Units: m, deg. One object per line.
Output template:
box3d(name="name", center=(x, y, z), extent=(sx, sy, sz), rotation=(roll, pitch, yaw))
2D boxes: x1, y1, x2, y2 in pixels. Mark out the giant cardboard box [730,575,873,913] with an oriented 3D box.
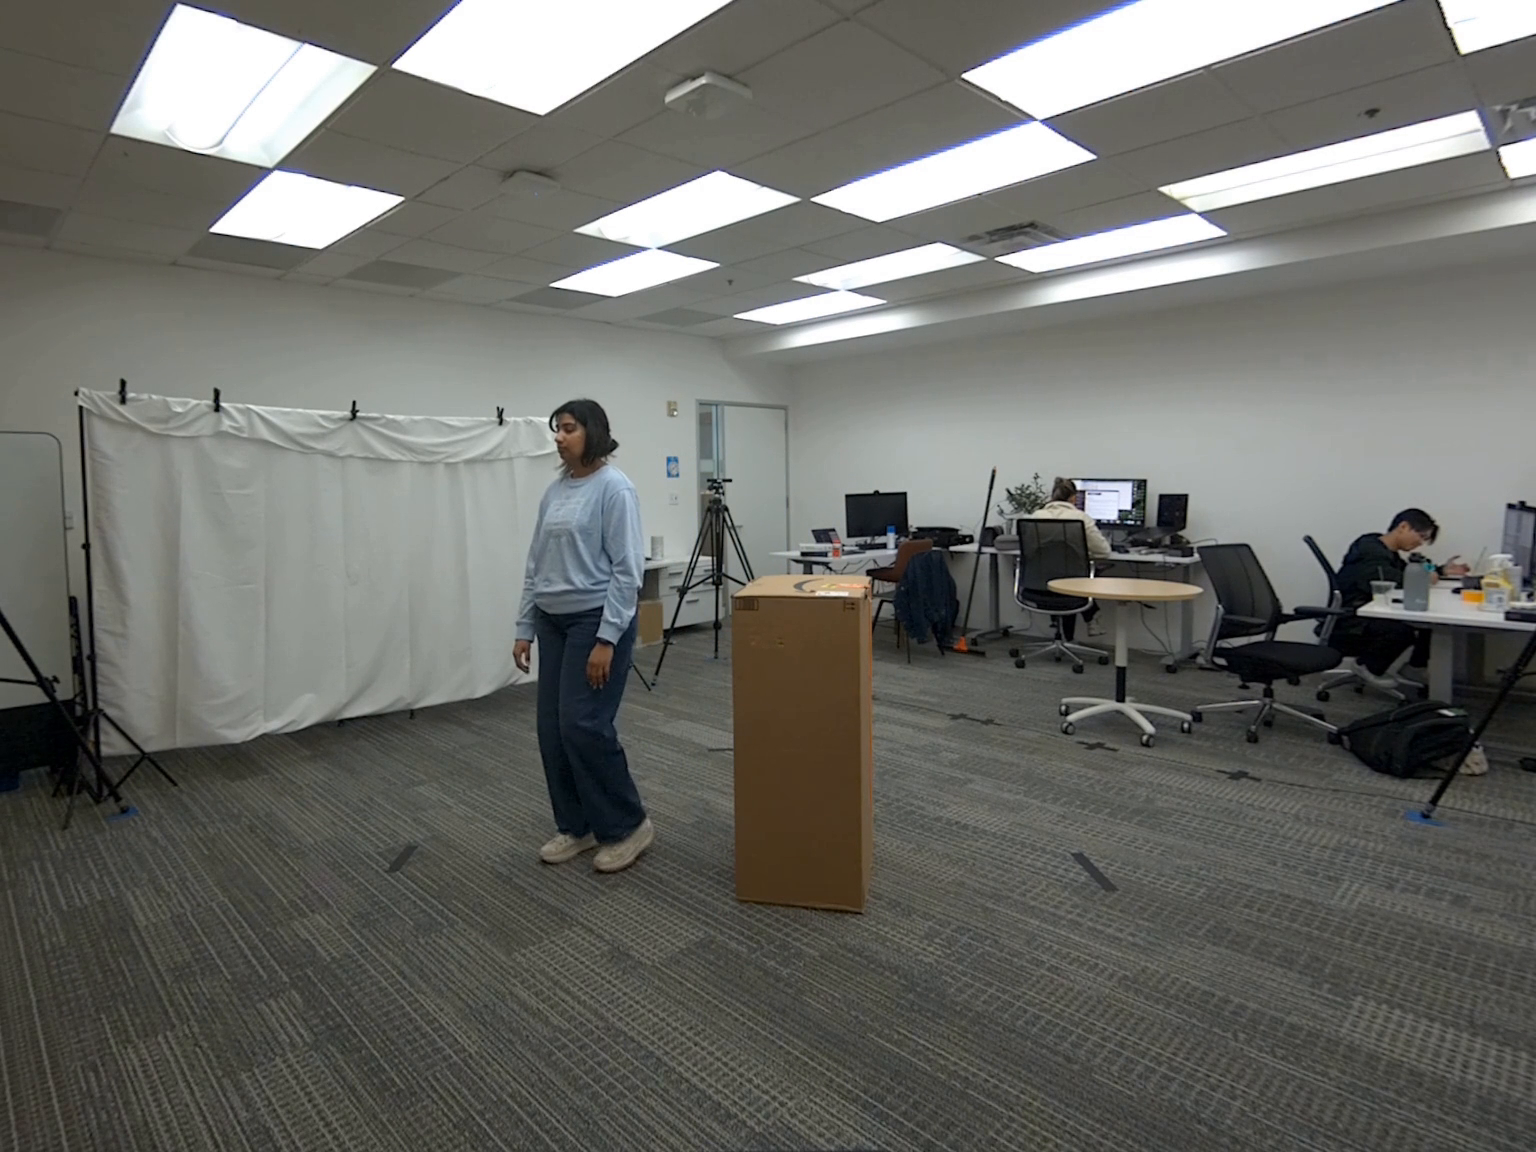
box3d(name="giant cardboard box", center=(0.140, 0.539, 3.022), extent=(0.431, 1.022, 0.573), rotation=(0, 4, 11))
